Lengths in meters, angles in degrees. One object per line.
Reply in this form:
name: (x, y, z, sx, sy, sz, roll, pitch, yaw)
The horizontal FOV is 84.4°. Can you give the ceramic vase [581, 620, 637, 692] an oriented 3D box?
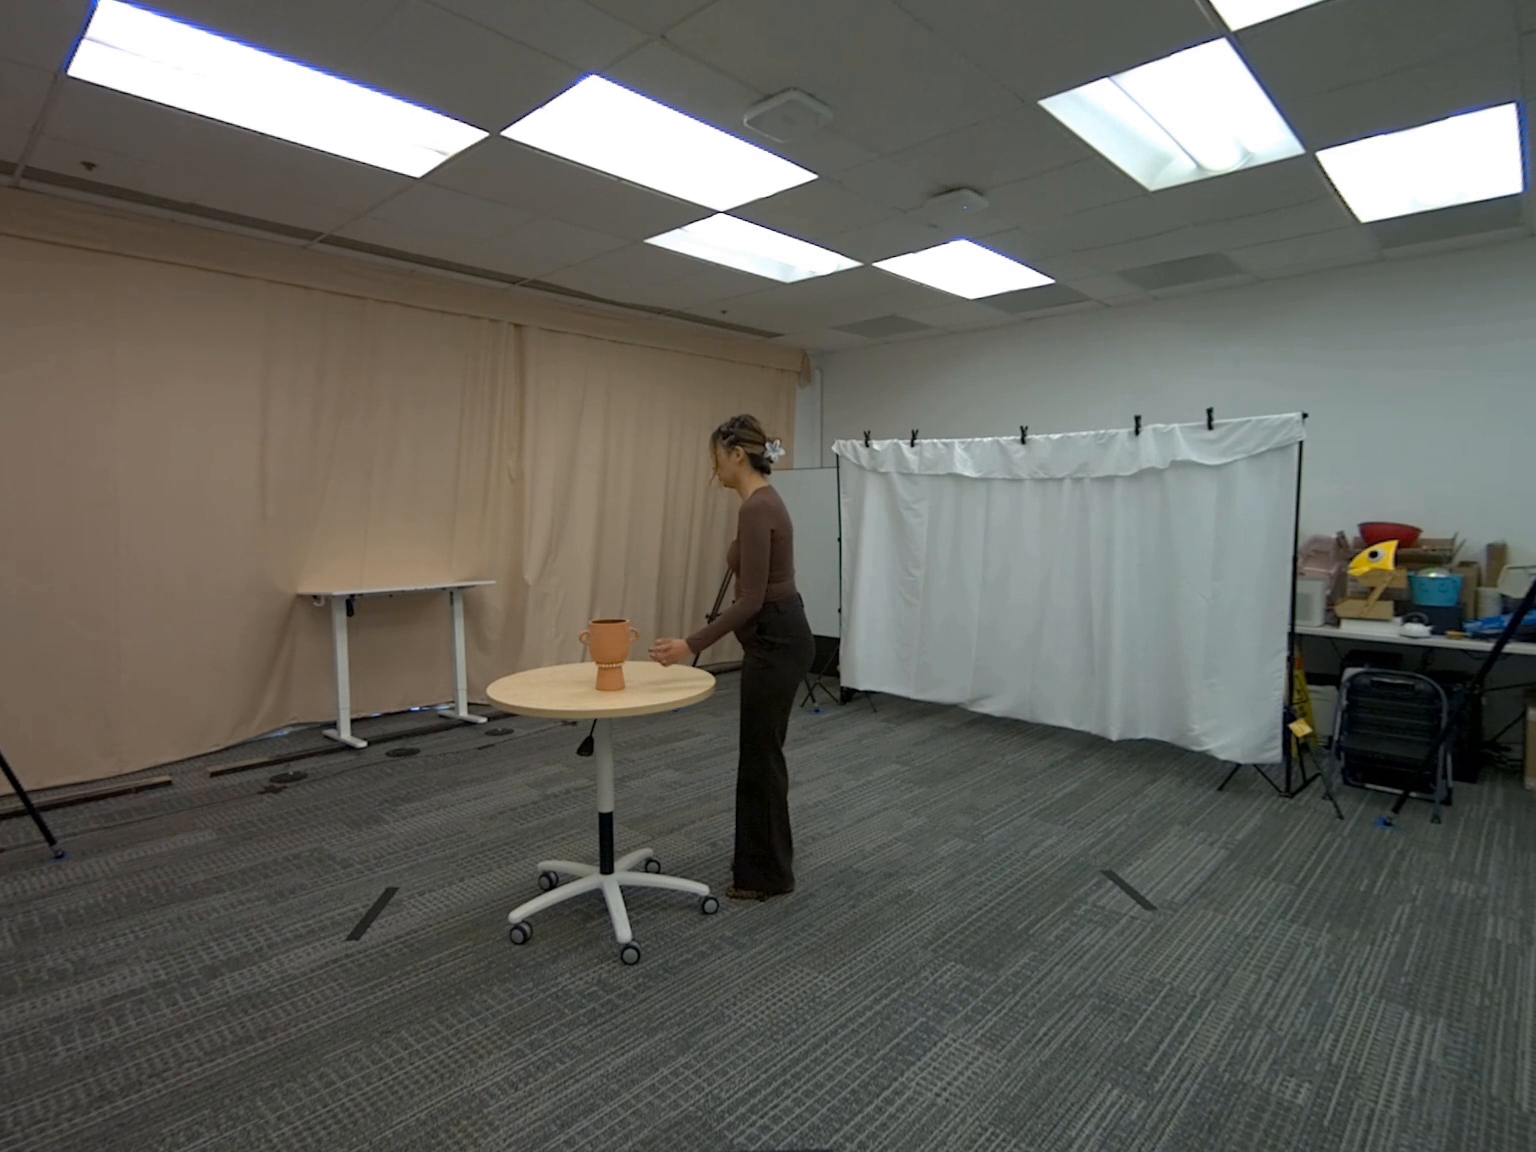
ceramic vase: (-0.515, 0.261, 2.759, 0.162, 0.219, 0.132, 0, 4, 22)
